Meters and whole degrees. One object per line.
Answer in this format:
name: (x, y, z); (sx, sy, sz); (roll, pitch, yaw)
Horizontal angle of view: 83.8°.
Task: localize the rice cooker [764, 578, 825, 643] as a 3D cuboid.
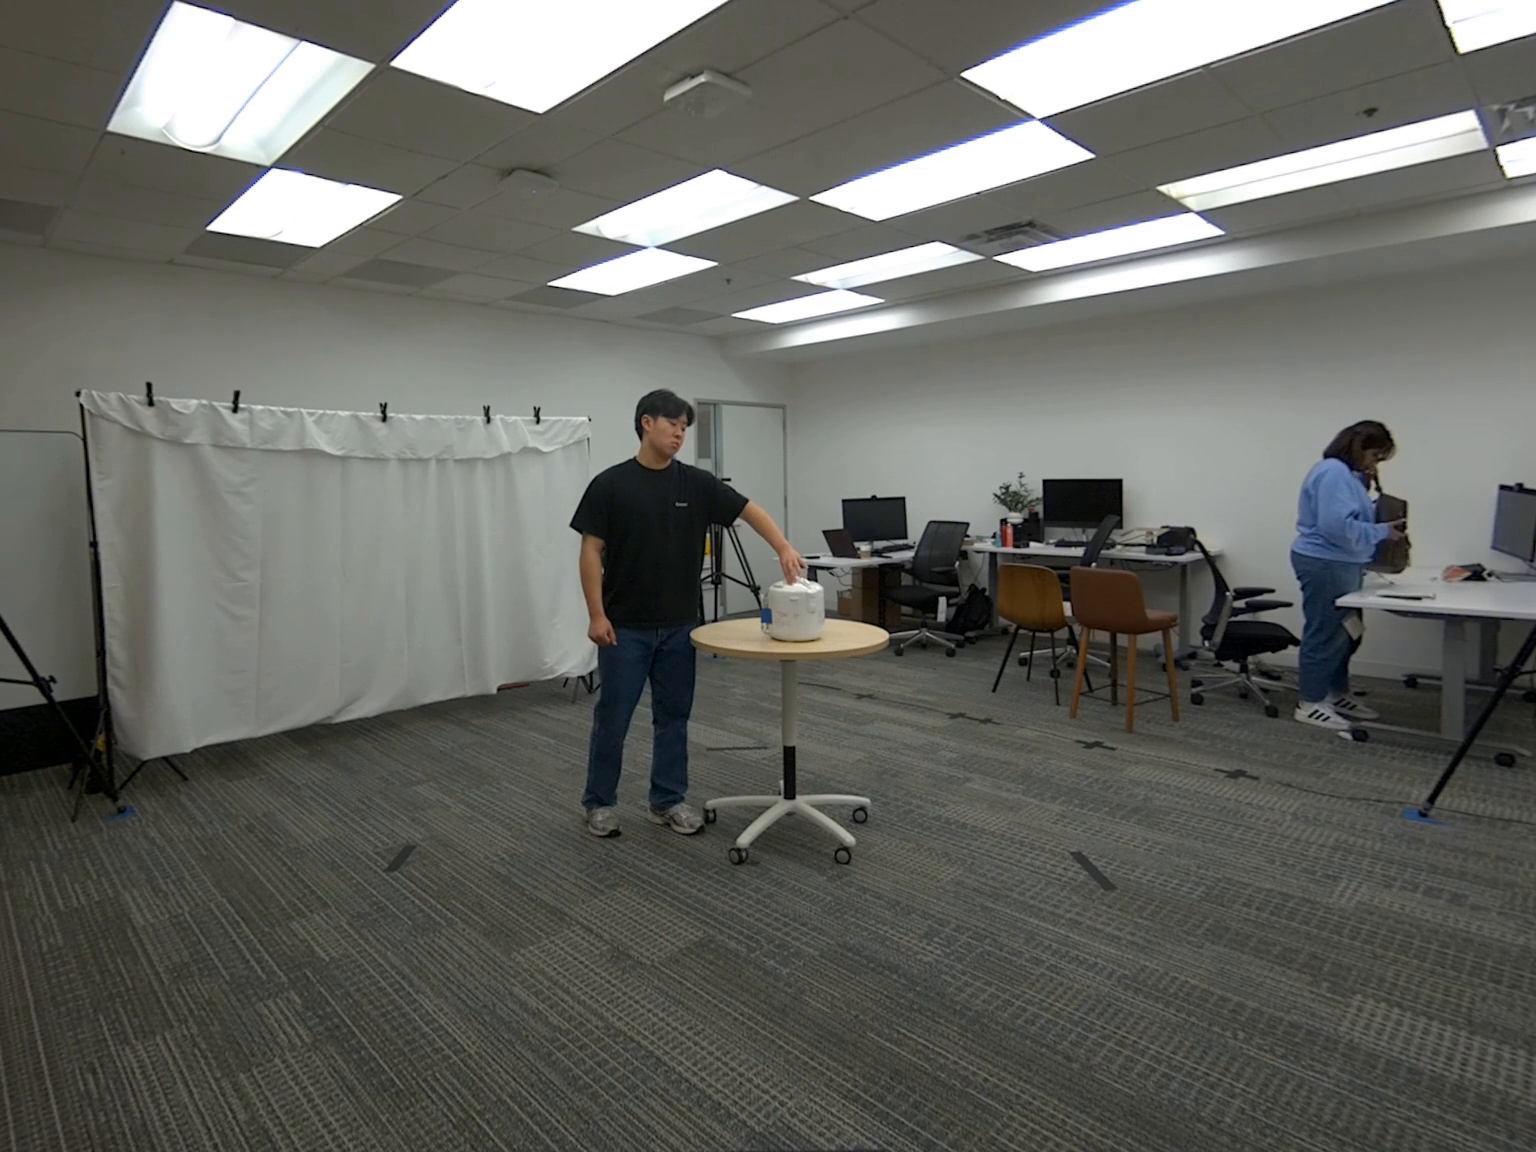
rice cooker: (0.108, 0.117, 3.192); (0.212, 0.231, 0.227); (-4, 7, -30)
